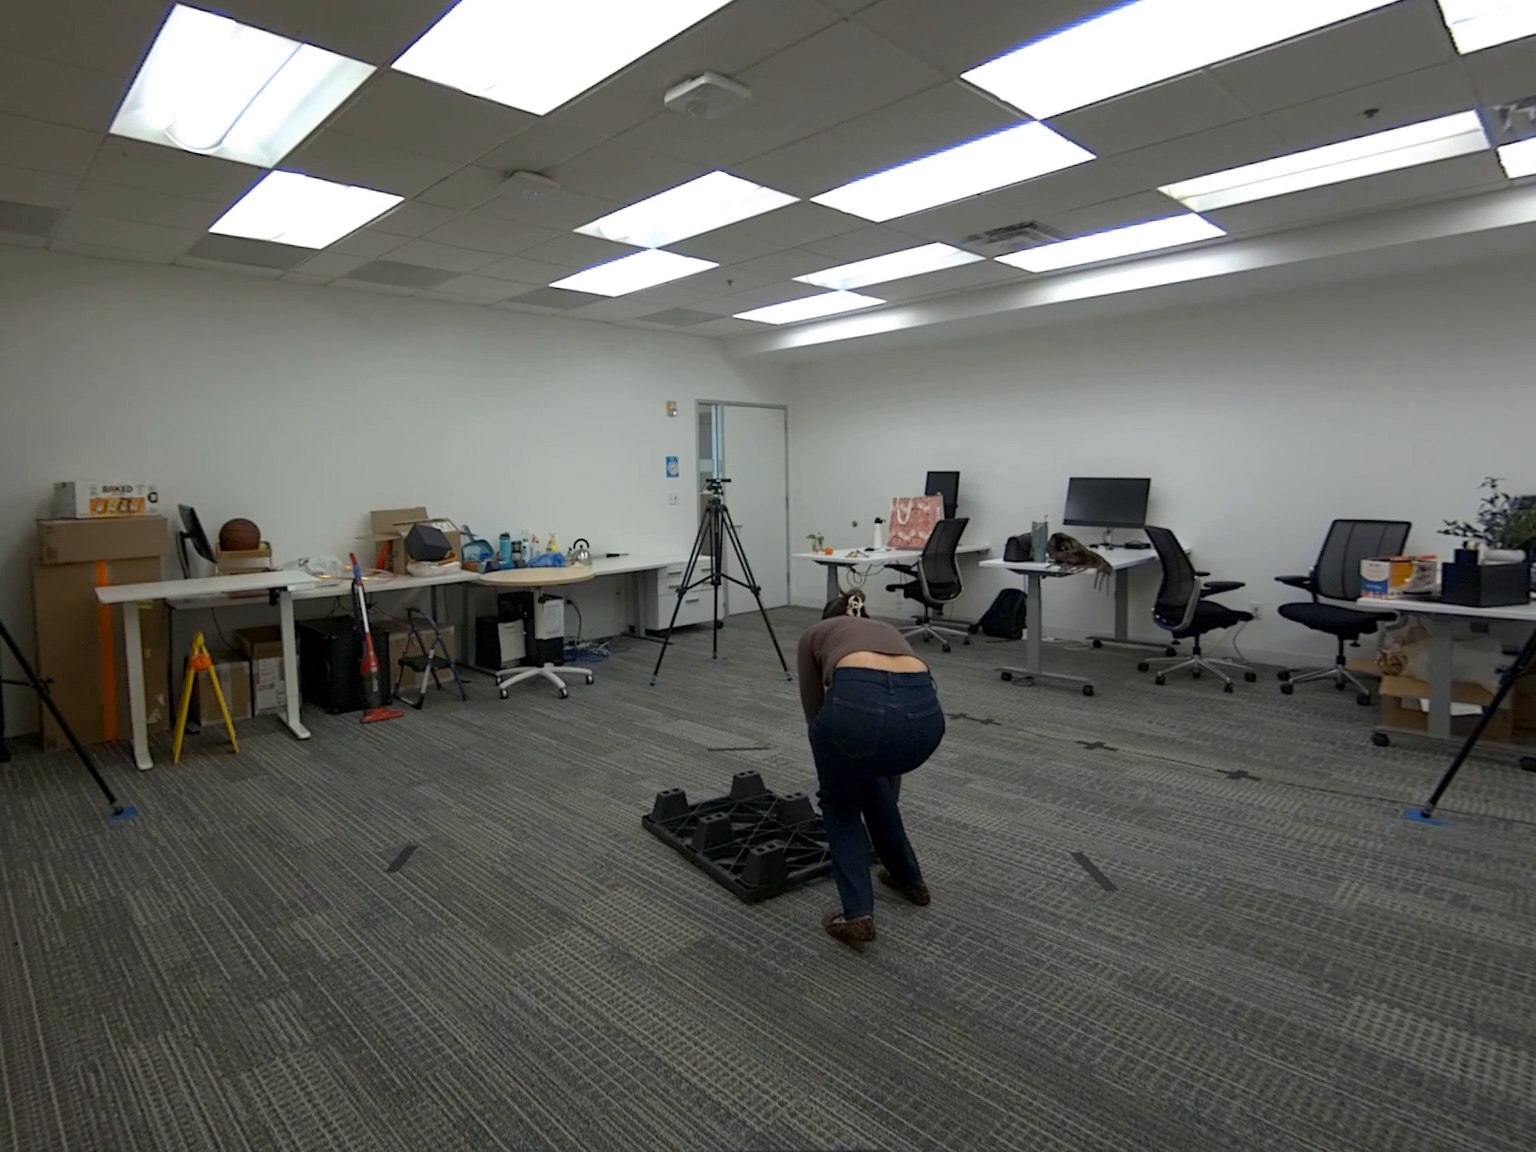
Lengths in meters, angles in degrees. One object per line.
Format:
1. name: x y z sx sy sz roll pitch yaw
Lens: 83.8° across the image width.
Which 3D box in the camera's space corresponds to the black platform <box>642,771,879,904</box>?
1. black platform: -0.051 0.951 3.281 0.590 0.143 0.829 -5 7 -34
